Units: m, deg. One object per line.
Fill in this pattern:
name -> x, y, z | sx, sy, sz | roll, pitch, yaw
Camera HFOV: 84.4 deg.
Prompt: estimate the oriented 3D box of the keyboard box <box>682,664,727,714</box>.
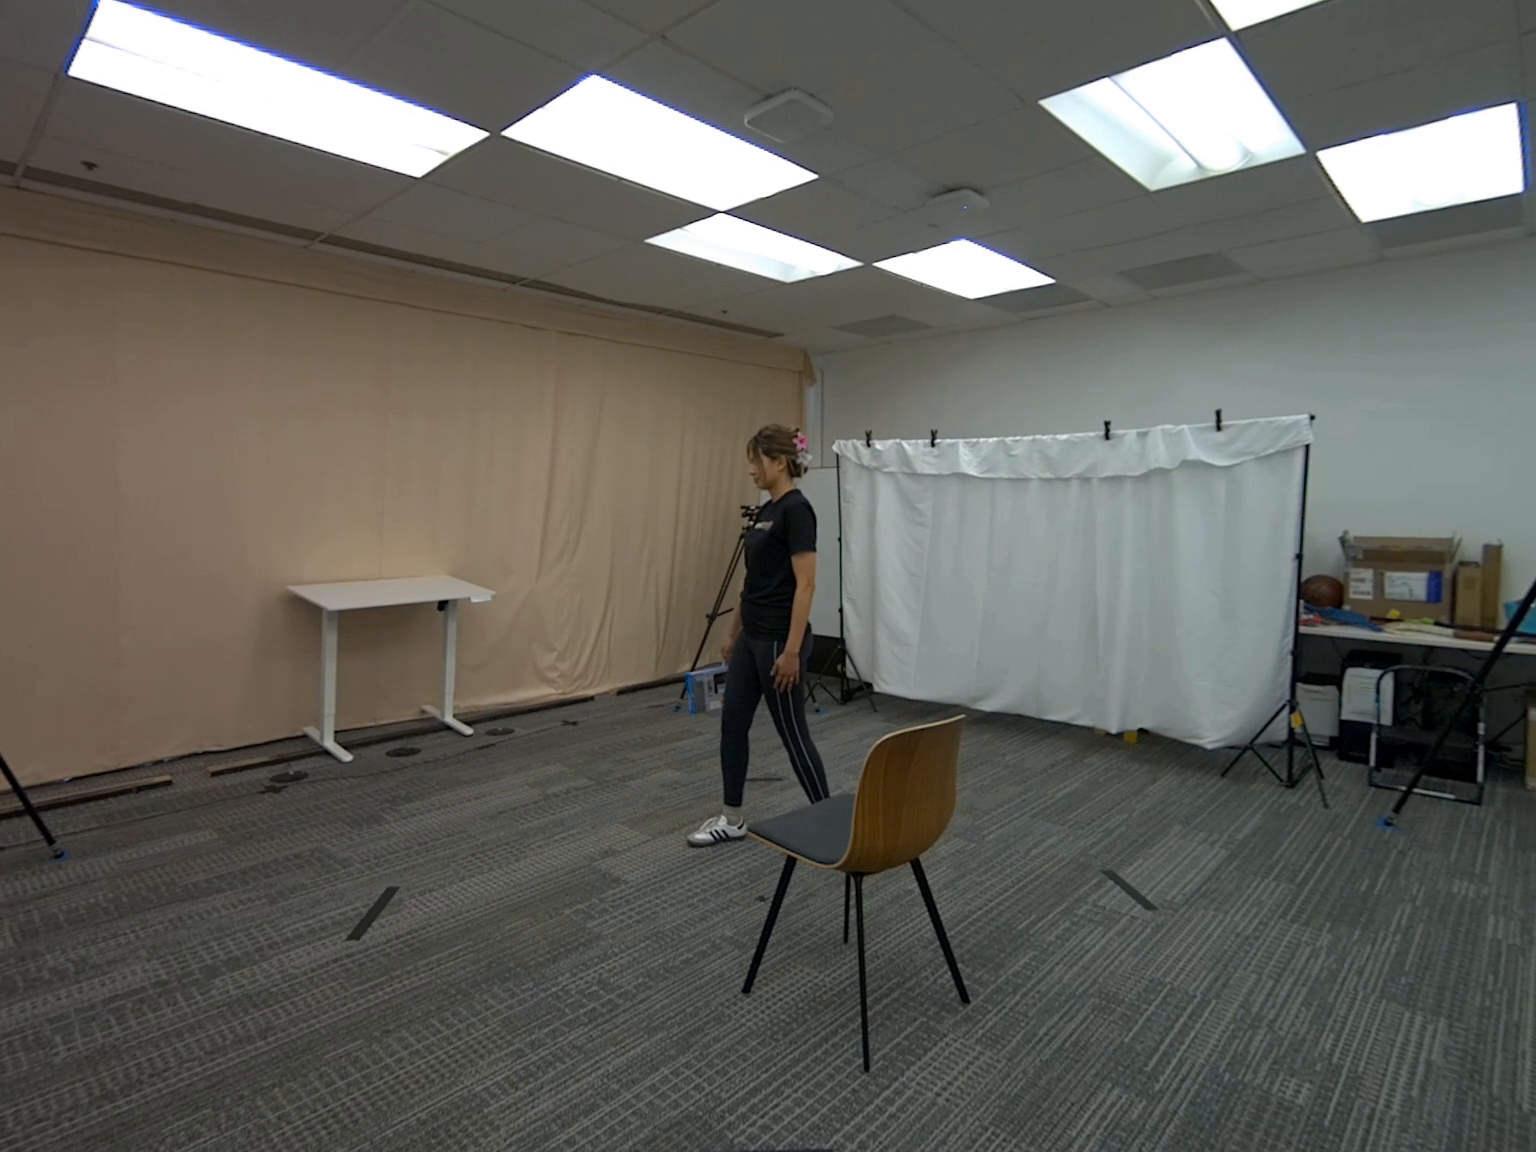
keyboard box -> -0.148, 0.473, 3.679 | 0.426, 0.175, 0.061 | -8, 4, -28
